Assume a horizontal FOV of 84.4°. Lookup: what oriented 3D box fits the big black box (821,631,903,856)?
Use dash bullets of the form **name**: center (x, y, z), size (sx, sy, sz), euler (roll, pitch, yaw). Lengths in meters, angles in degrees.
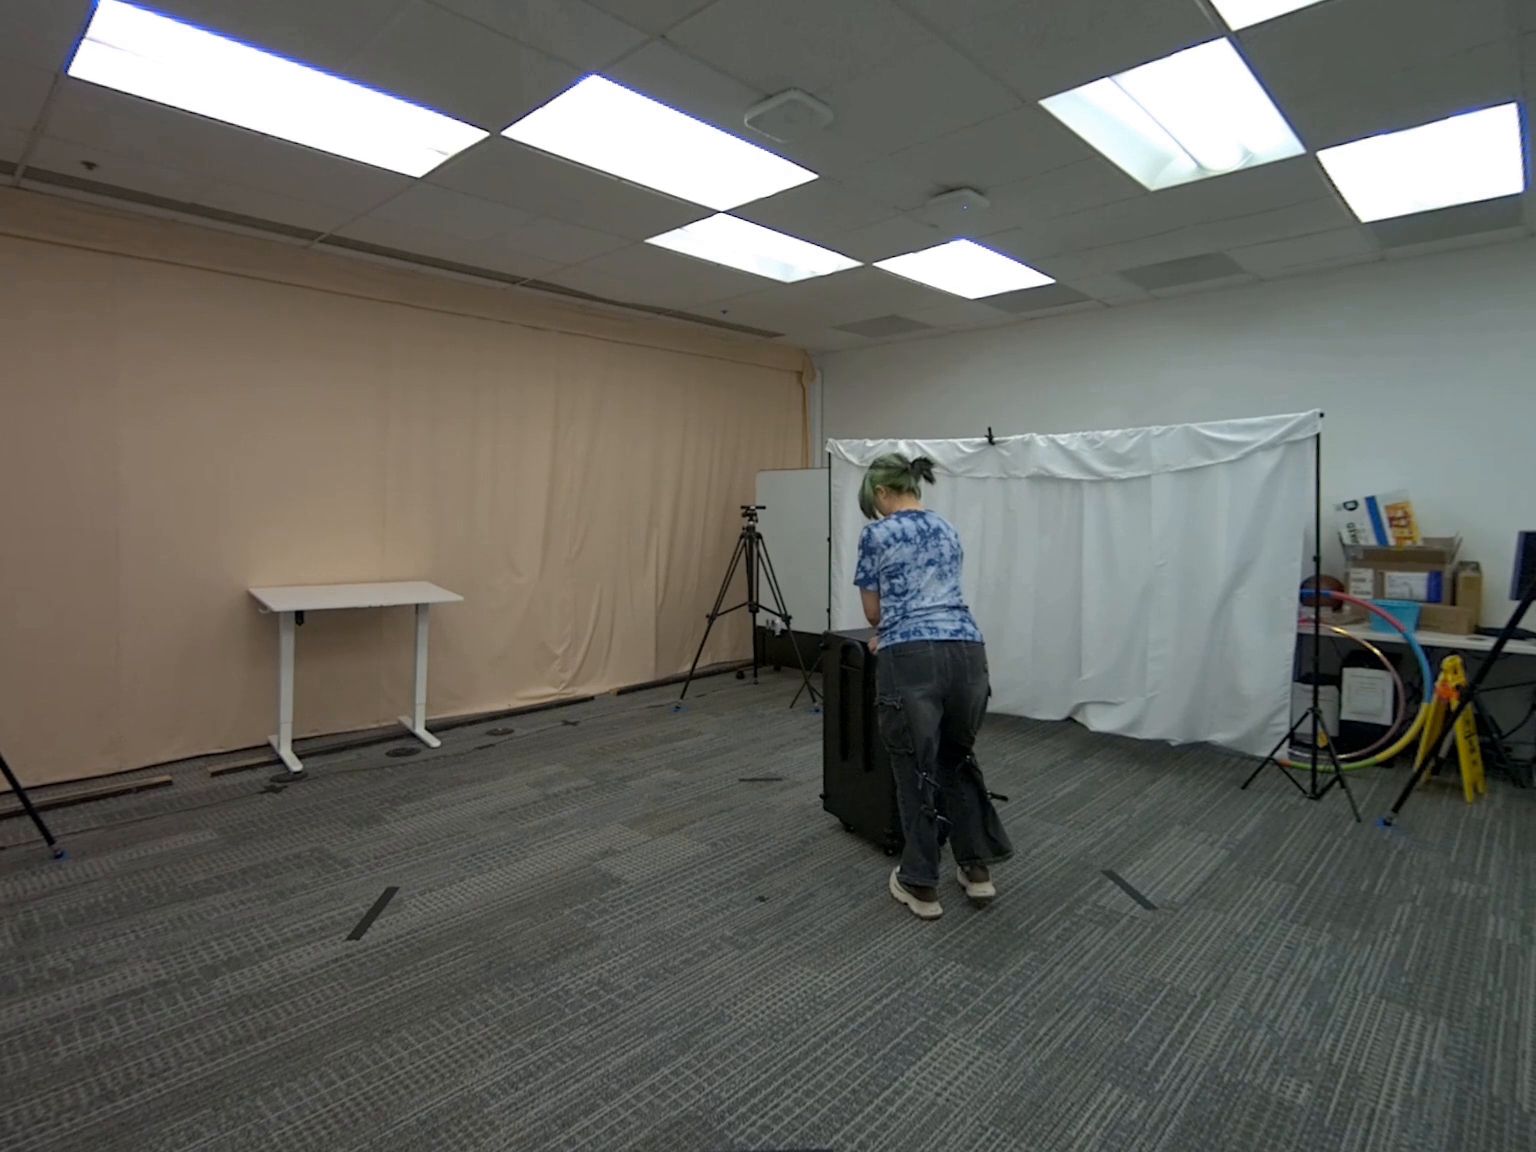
- **big black box**: center (0.508, 0.679, 3.511), size (0.386, 0.859, 0.536), euler (-3, 5, -28)
